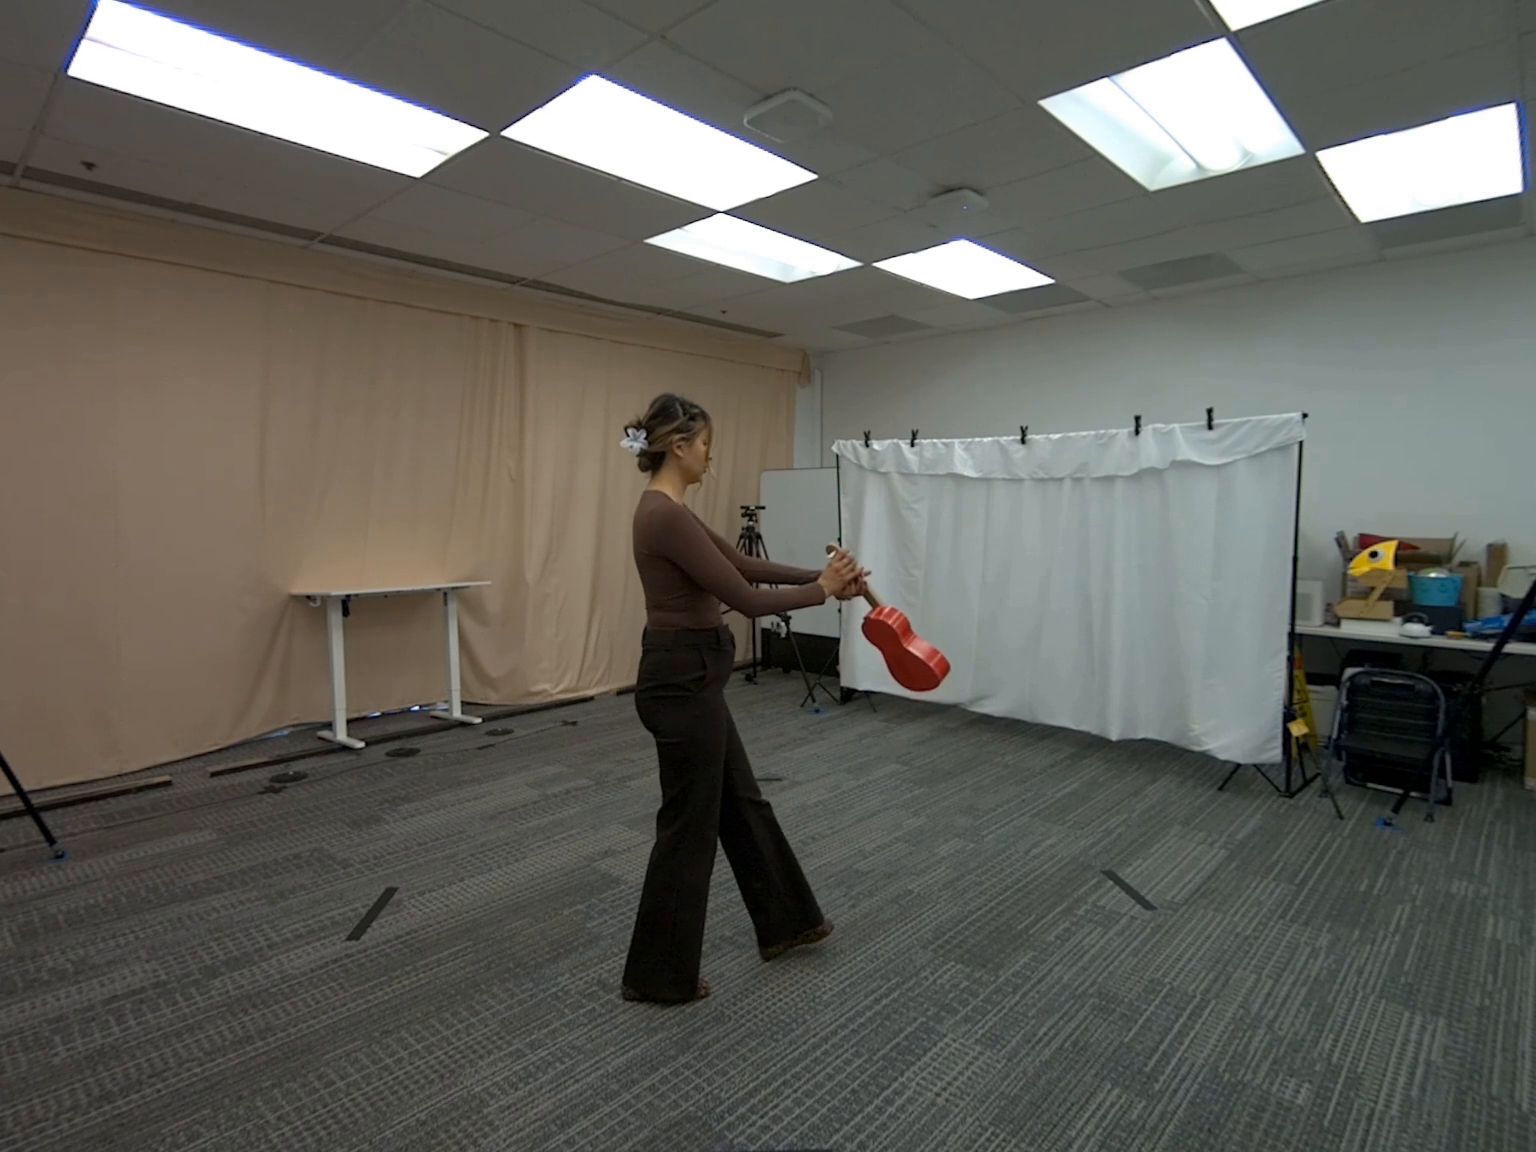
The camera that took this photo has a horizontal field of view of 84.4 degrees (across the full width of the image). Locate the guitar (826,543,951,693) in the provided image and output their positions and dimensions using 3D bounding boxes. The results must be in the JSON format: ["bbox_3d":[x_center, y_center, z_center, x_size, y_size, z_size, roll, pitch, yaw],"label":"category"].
[{"bbox_3d":[0.315,0.127,2.434,0.070,0.500,0.194,-42,-4,-28],"label":"guitar"}]
